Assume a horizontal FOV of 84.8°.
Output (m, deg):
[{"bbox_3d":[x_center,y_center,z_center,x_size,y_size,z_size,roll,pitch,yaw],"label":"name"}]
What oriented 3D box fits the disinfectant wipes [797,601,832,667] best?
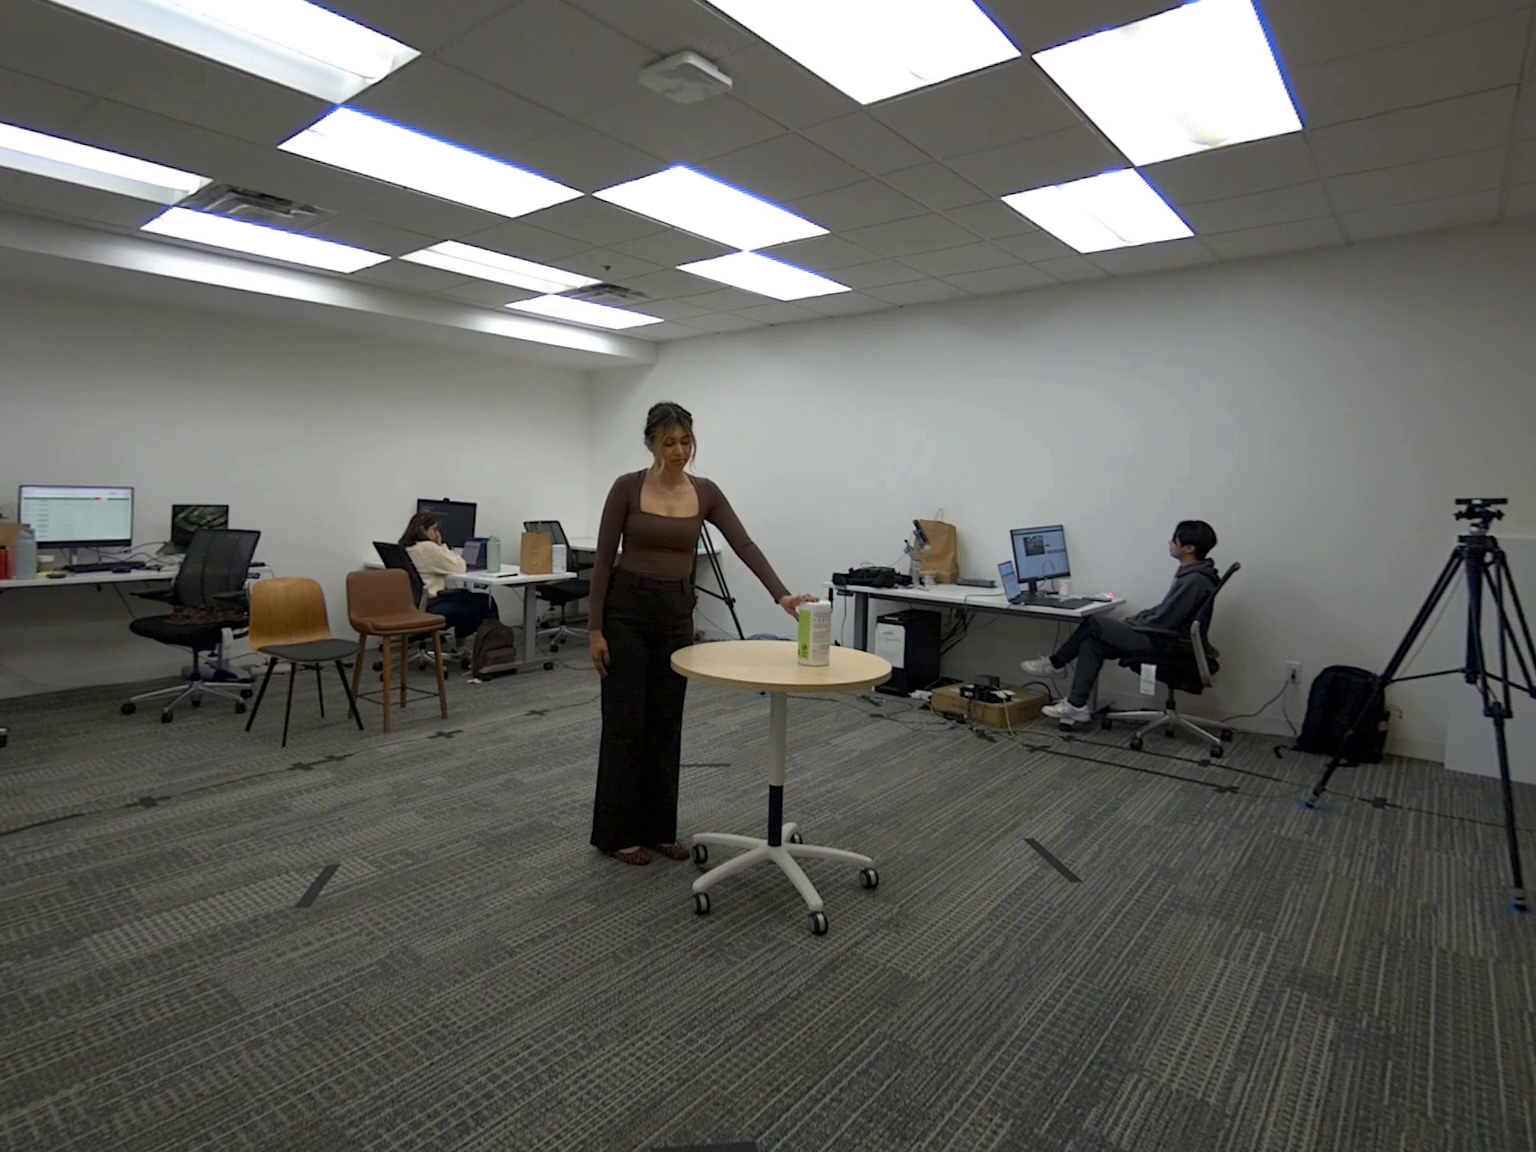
[{"bbox_3d":[0.157,0.192,2.923,0.118,0.217,0.118,0,2,-2],"label":"disinfectant wipes"}]
